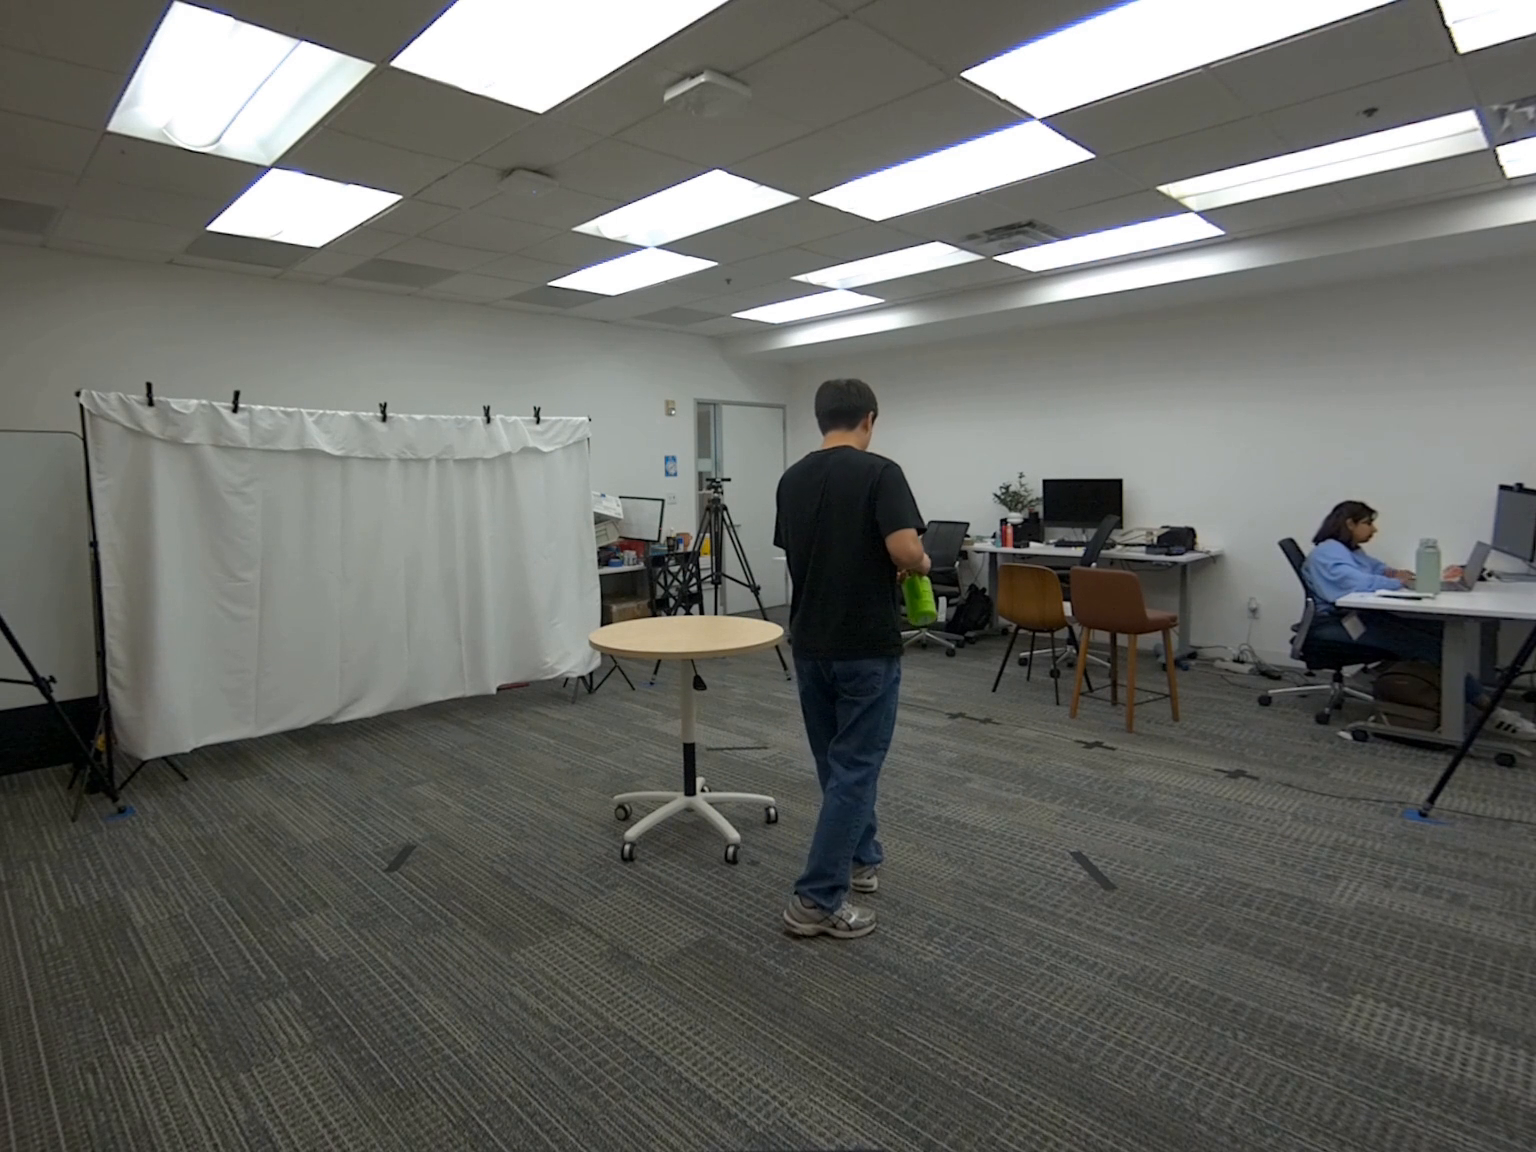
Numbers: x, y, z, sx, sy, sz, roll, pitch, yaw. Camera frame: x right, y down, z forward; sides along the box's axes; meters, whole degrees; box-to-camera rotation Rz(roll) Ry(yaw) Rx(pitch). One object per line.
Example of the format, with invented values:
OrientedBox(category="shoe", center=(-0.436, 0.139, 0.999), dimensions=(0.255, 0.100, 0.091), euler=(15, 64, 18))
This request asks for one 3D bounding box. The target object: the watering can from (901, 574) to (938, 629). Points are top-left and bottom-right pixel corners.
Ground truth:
OrientedBox(category="watering can", center=(0.511, 0.077, 2.864), dimensions=(0.099, 0.181, 0.269), euler=(-14, -24, 18))
